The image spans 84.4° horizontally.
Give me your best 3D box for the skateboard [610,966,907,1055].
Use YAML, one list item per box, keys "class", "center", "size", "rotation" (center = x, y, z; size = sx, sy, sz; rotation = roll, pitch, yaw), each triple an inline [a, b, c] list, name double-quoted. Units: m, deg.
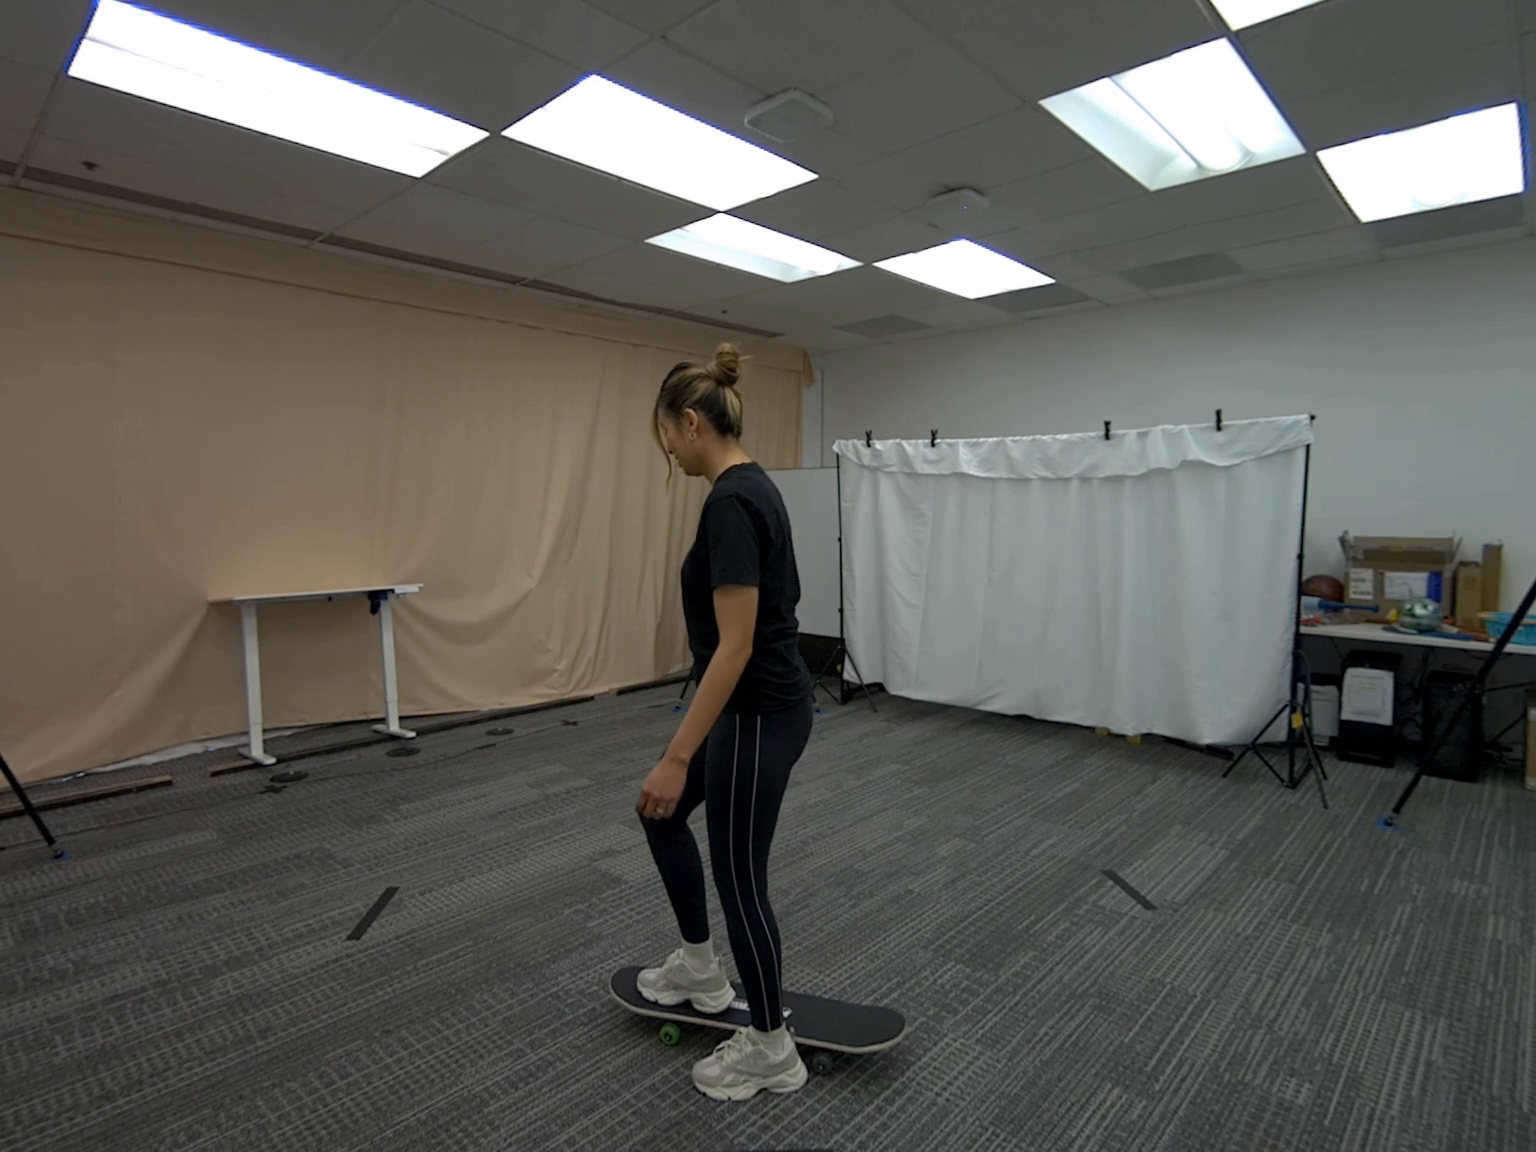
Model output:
- class: "skateboard"
  center: [-0.041, 1.148, 2.194]
  size: [0.799, 0.110, 0.190]
  rotation: [1, 4, 16]
